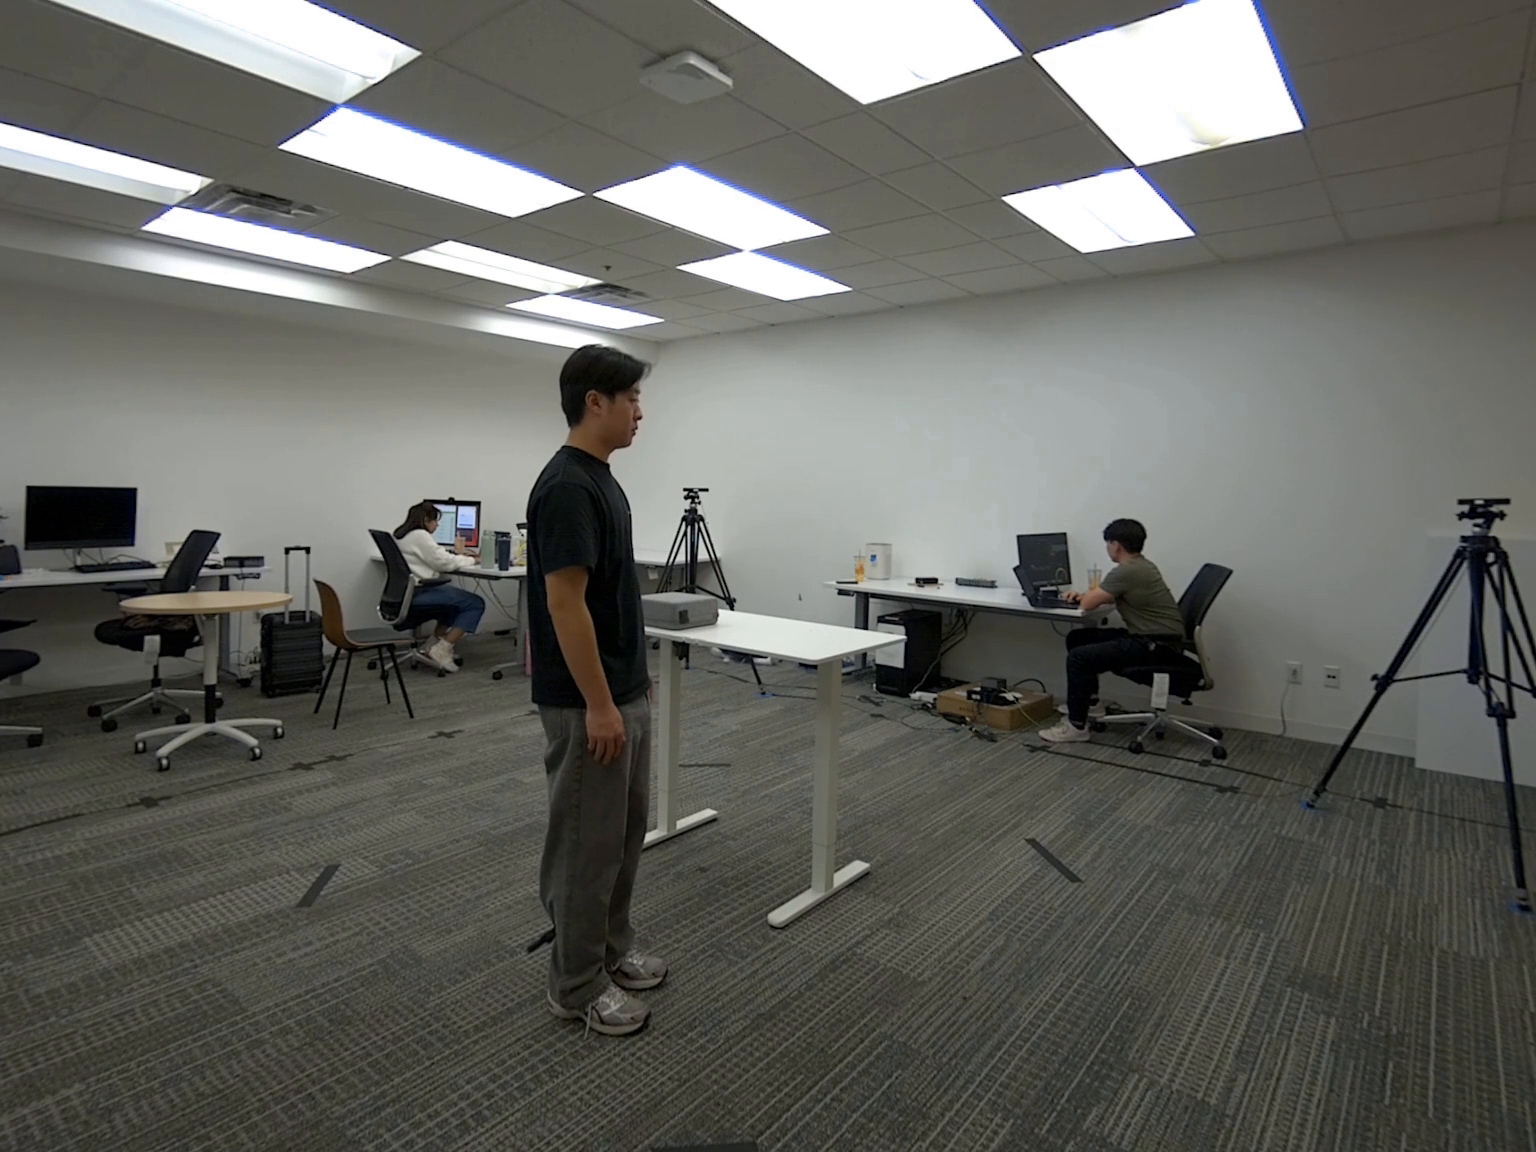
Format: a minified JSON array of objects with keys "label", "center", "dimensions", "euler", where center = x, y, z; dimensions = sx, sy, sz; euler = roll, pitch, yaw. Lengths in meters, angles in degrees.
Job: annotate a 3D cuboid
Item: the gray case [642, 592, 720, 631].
[{"label":"gray case","center":[-0.358,0.124,3.180],"dimensions":[0.269,0.104,0.250],"euler":[6,8,38]}]
